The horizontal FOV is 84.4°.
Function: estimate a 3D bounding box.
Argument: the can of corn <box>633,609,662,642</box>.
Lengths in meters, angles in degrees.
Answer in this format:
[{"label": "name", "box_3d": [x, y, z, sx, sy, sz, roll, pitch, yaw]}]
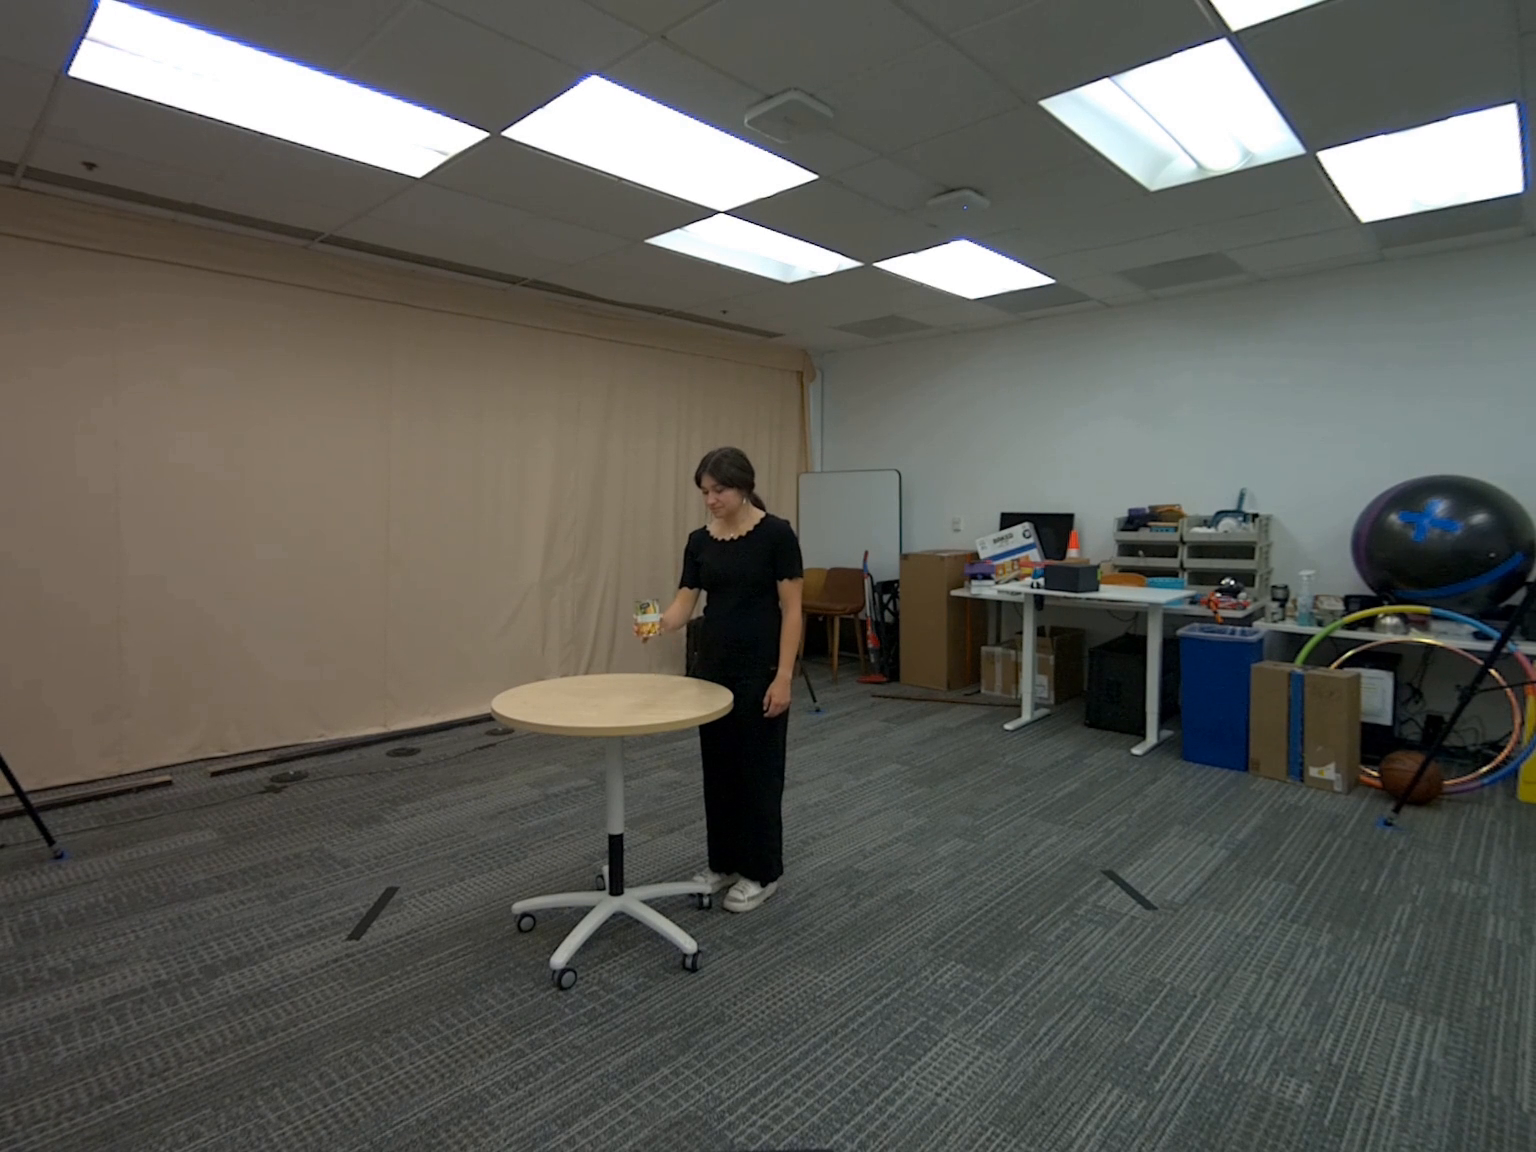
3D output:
[{"label": "can of corn", "box_3d": [-0.382, 0.191, 2.657, 0.074, 0.111, 0.074, -4, 3, -2]}]
